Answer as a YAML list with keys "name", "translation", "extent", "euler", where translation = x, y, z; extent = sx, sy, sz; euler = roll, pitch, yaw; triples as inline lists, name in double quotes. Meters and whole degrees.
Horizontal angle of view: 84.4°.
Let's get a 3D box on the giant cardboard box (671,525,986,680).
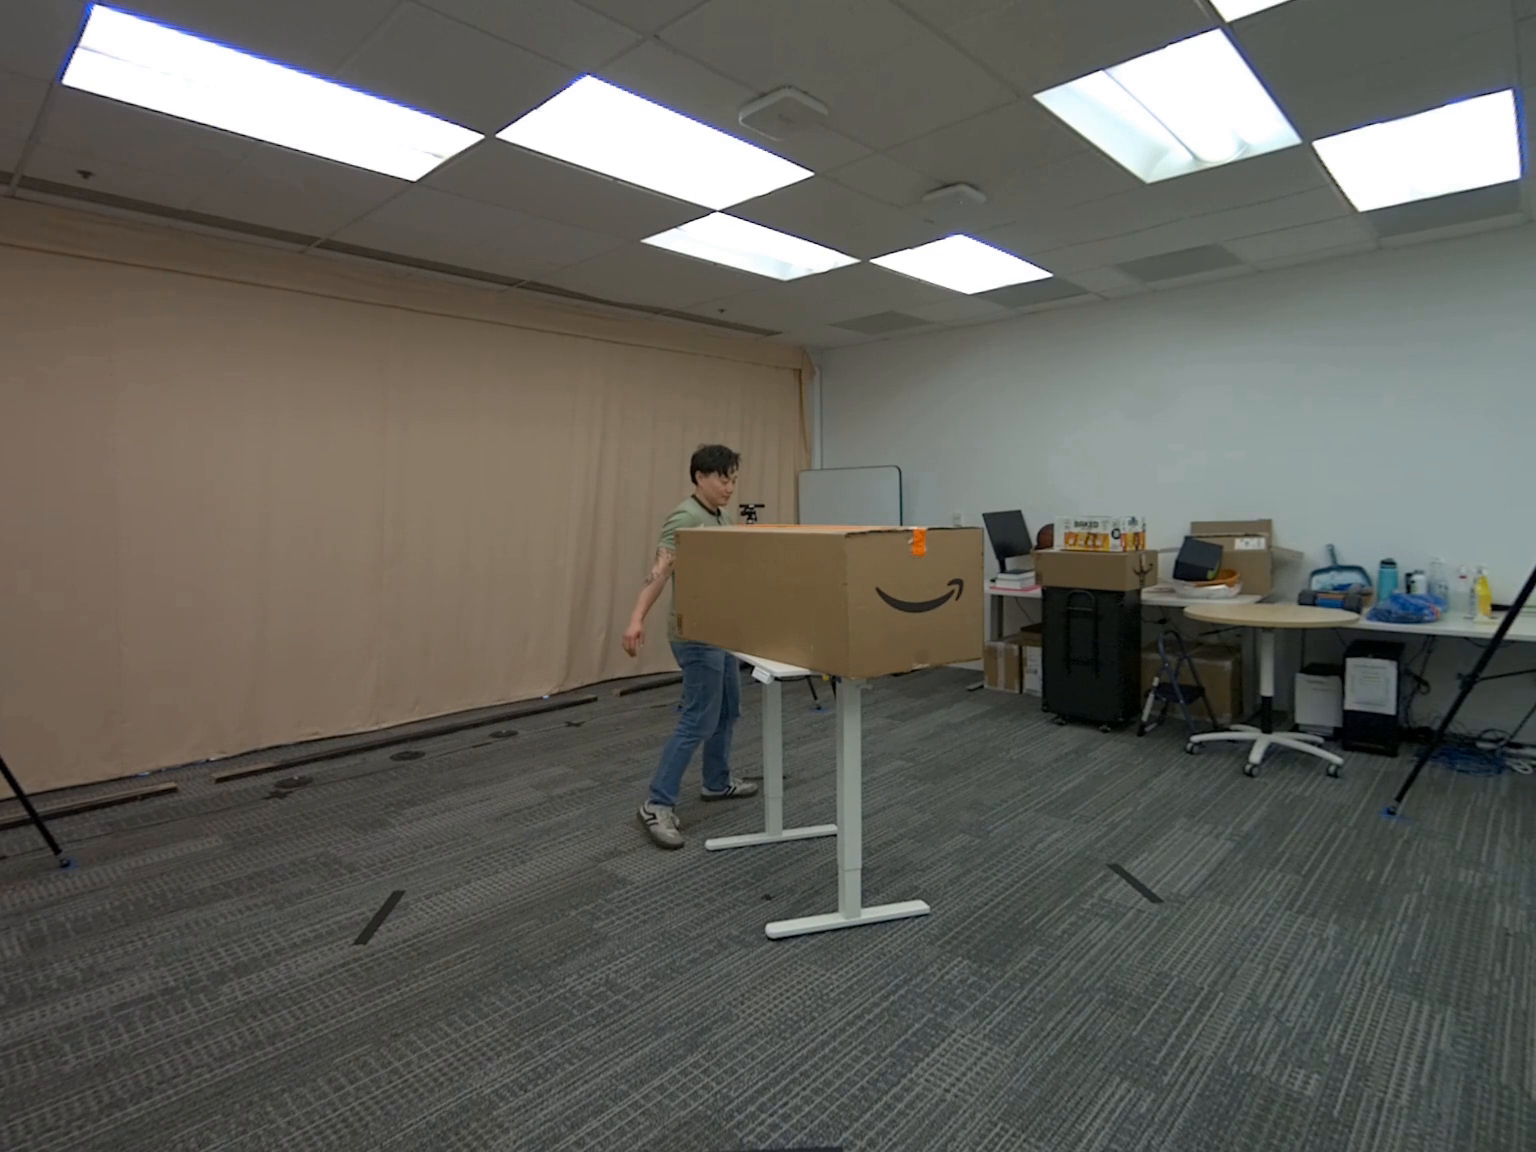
- name: "giant cardboard box"
  translation: [0.168, 0.039, 2.976]
  extent: [0.561, 0.425, 1.057]
  euler: [-3, 5, -34]
